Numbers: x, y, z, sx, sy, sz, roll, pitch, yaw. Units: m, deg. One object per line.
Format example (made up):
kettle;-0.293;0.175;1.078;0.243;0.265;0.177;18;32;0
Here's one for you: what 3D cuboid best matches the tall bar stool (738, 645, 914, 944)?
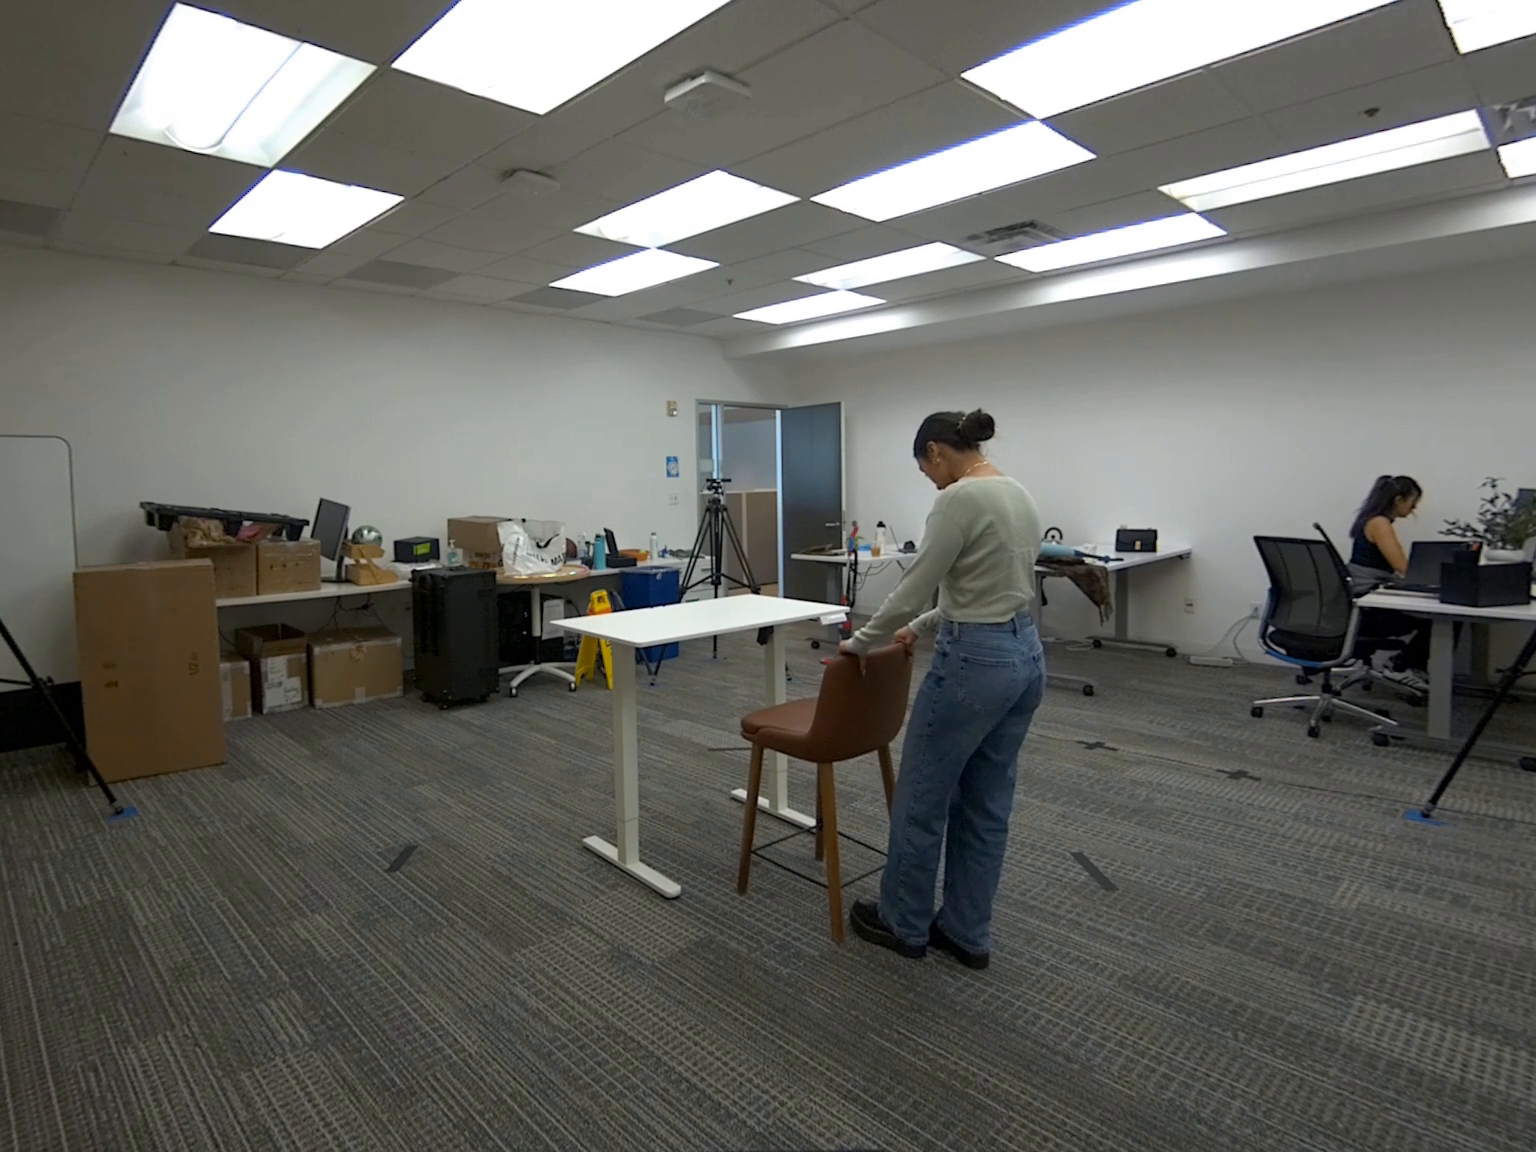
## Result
tall bar stool;0.196;0.631;2.813;0.444;0.885;0.482;-5;8;-41
